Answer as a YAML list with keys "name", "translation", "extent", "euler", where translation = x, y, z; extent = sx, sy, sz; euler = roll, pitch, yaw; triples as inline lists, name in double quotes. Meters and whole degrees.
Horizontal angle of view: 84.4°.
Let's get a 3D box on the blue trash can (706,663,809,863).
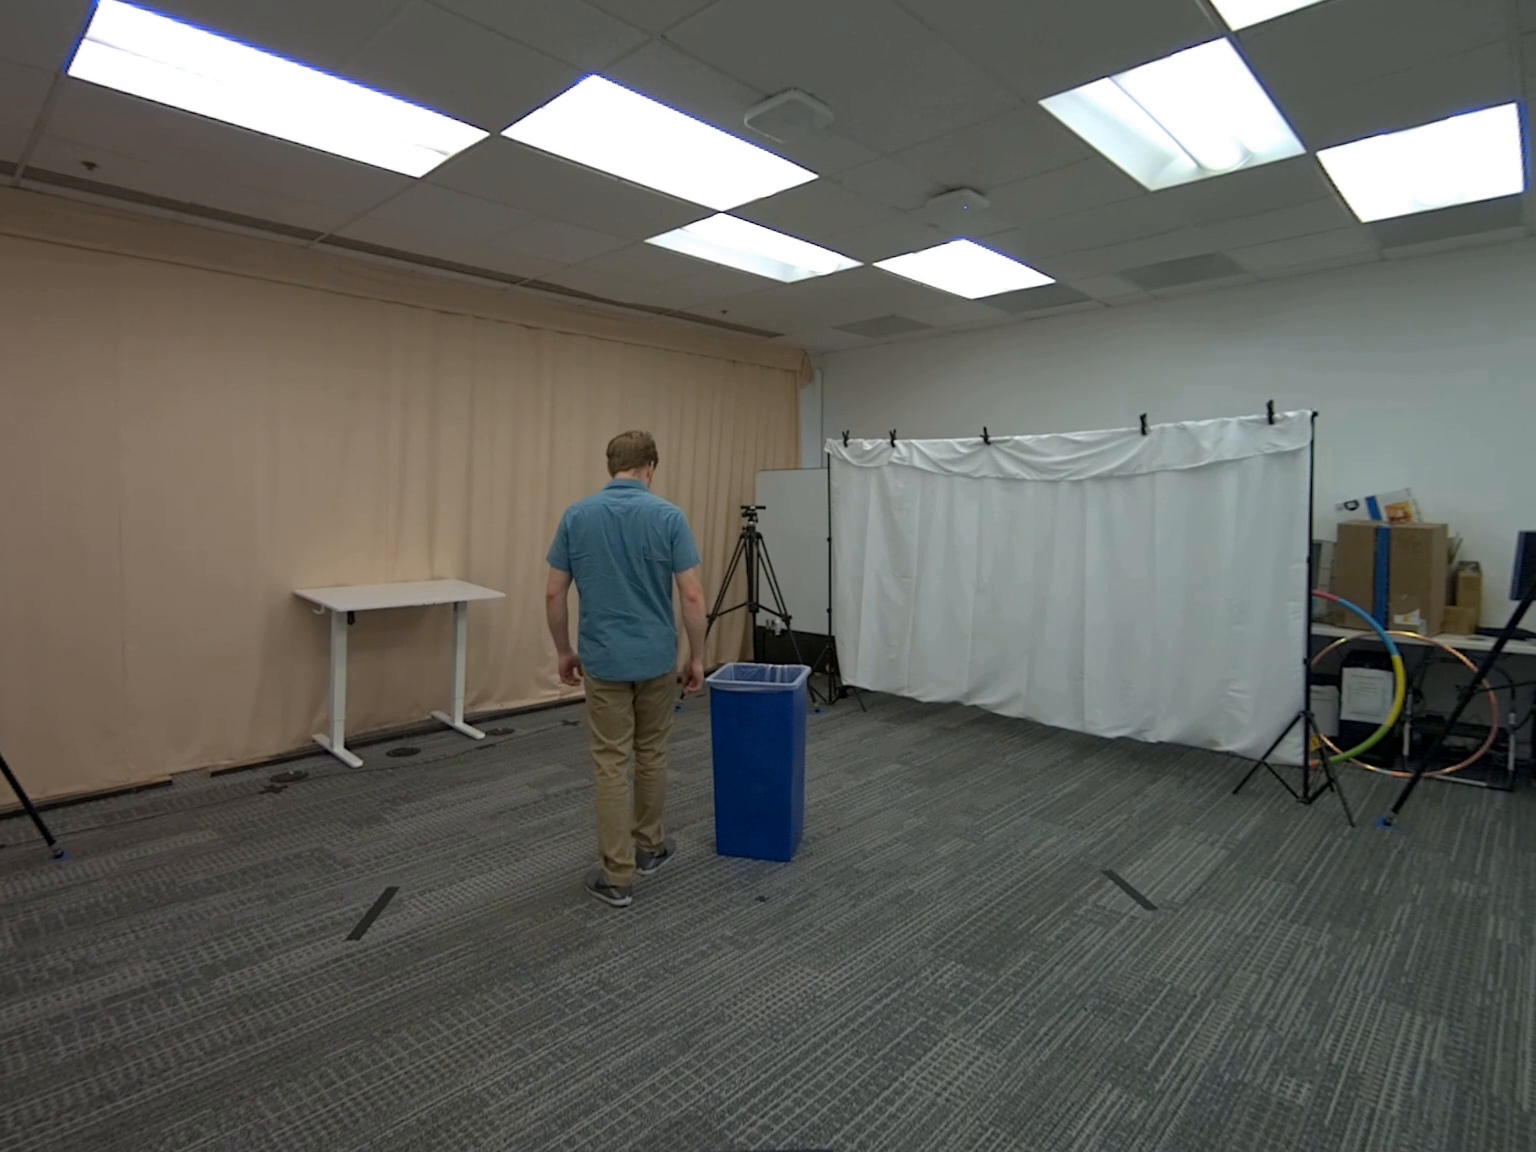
- name: "blue trash can"
  translation: [-0.028, 0.749, 3.439]
  extent: [0.384, 0.712, 0.369]
  euler: [0, 3, 14]
